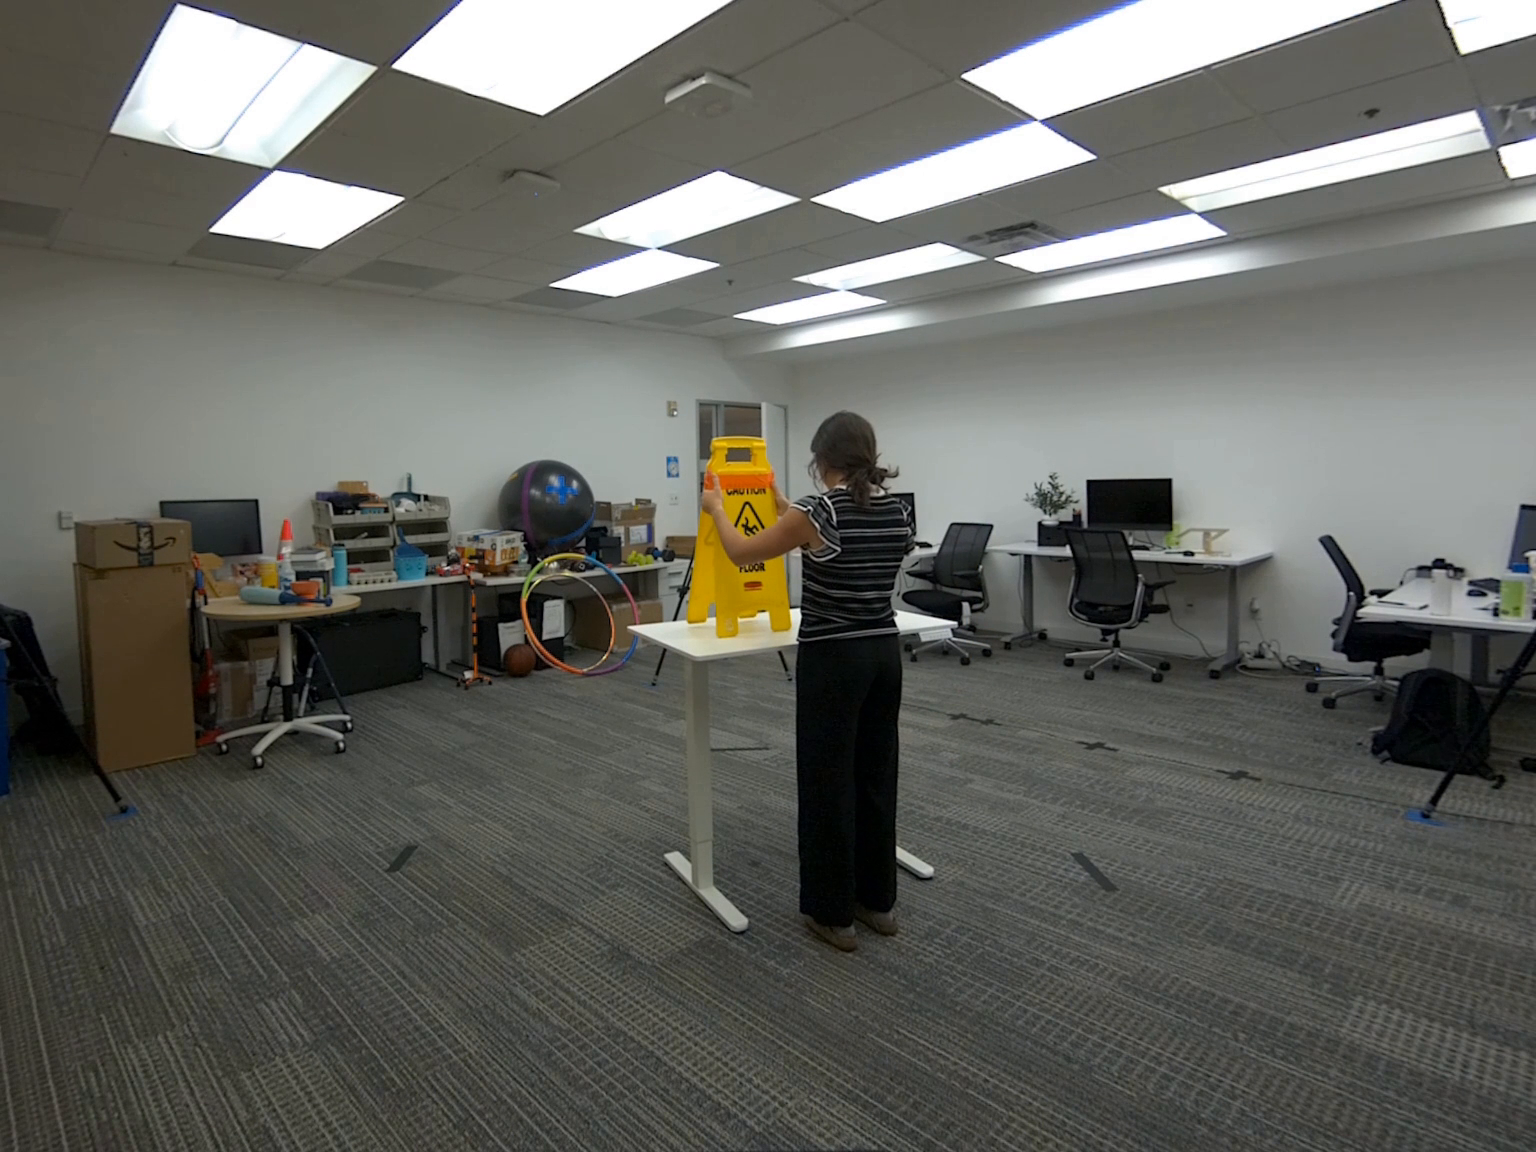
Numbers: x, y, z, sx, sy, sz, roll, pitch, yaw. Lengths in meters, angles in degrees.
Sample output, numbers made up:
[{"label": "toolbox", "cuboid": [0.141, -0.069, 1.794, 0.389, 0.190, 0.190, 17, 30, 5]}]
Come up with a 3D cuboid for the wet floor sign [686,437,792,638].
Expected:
[{"label": "wet floor sign", "cuboid": [-0.103, -0.144, 2.917, 0.276, 0.643, 0.298, -3, 6, -28]}]
